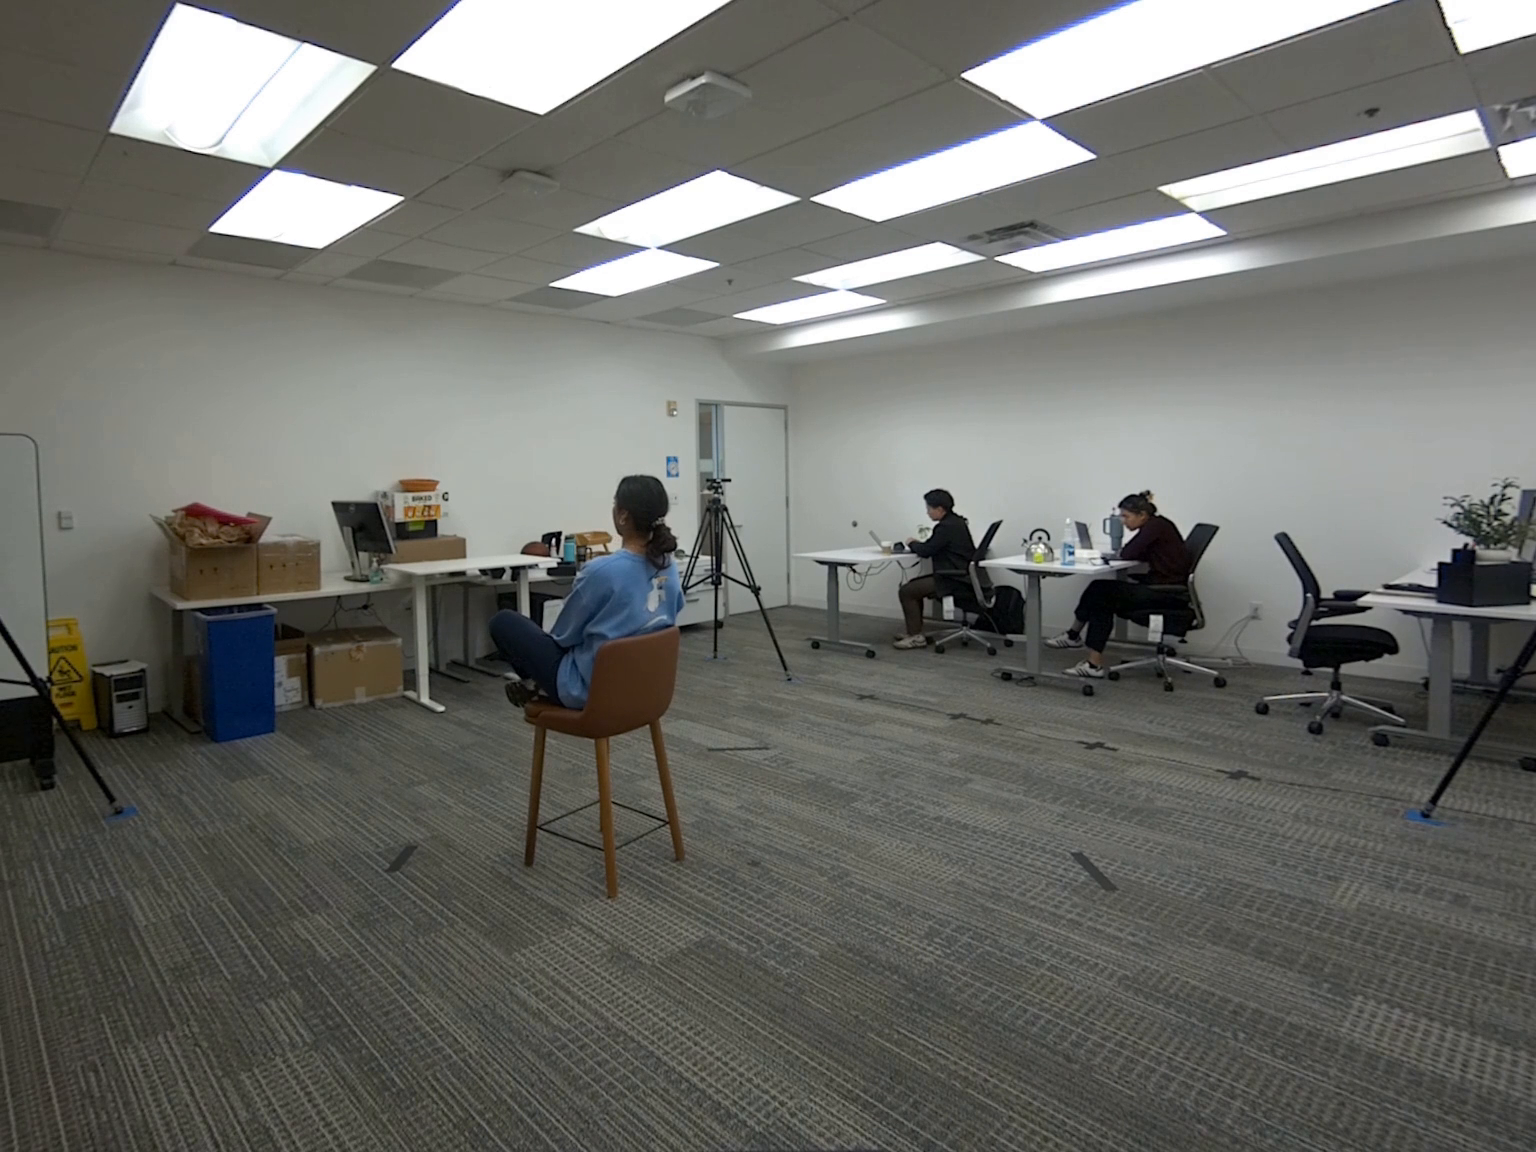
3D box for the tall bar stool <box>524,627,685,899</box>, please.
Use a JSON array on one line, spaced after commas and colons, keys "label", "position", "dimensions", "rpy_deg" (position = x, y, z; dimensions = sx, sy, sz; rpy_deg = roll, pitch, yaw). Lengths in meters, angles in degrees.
[{"label": "tall bar stool", "position": [-0.594, 0.620, 3.112], "dimensions": [0.482, 0.885, 0.445], "rpy_deg": [4, 7, 37]}]
